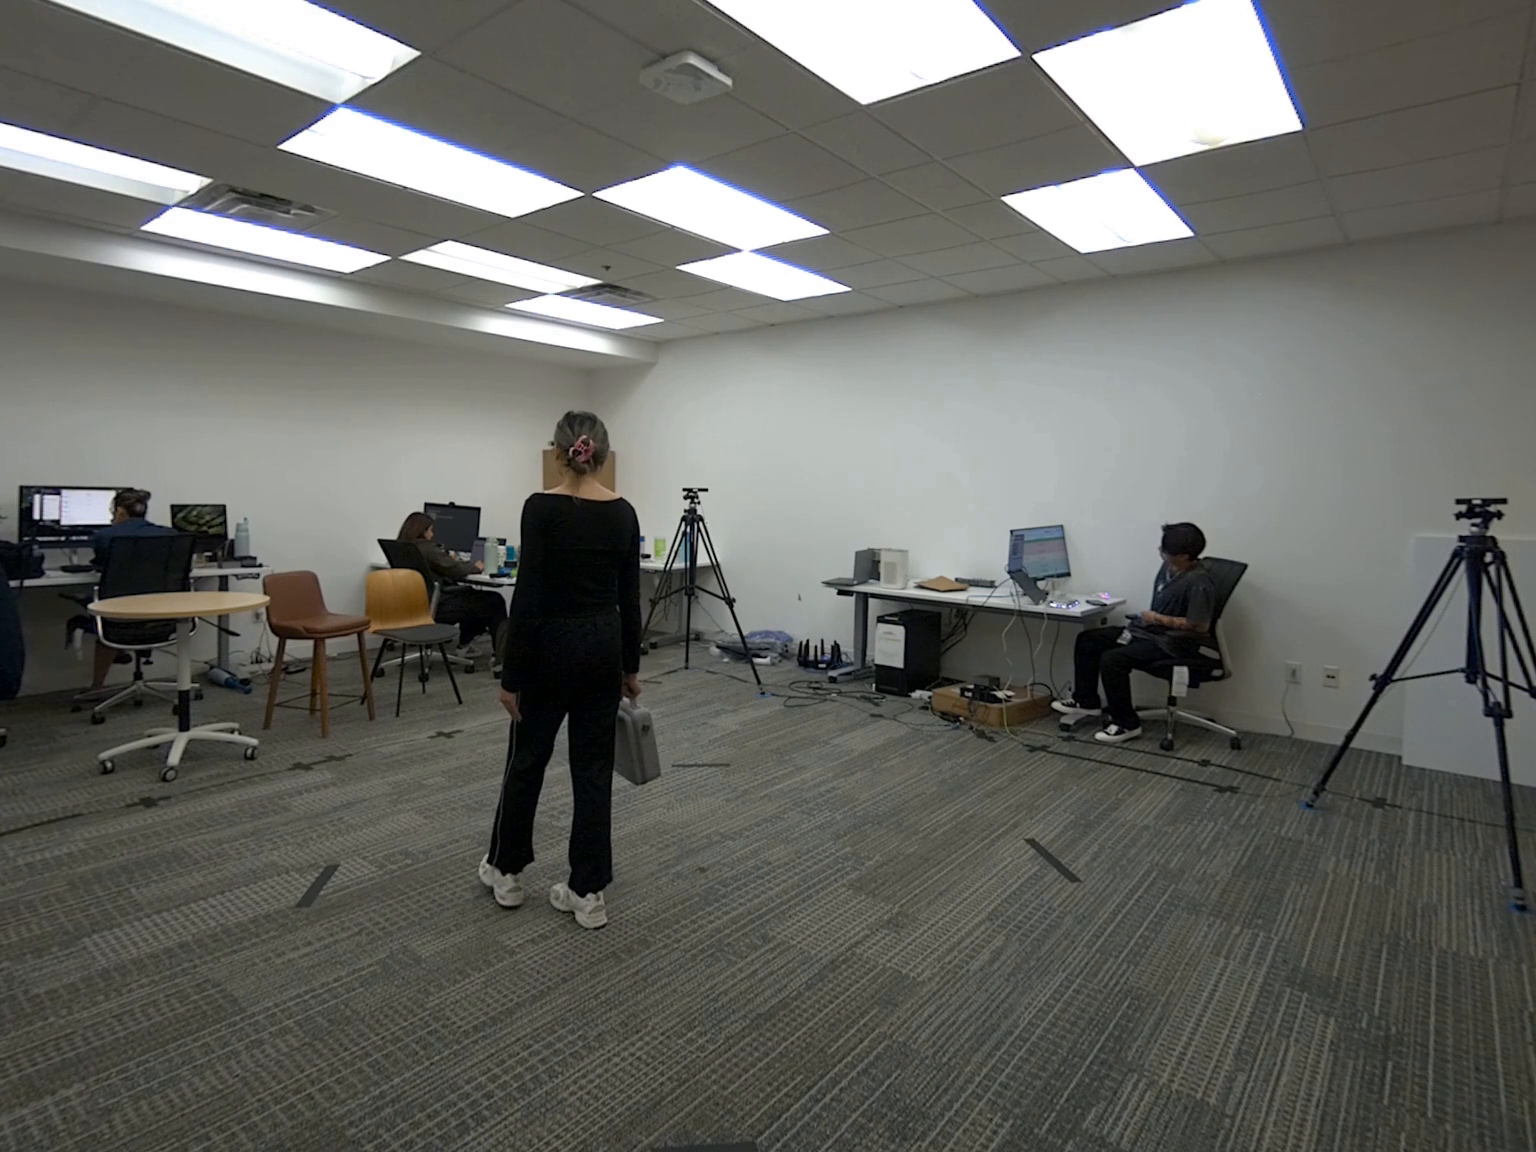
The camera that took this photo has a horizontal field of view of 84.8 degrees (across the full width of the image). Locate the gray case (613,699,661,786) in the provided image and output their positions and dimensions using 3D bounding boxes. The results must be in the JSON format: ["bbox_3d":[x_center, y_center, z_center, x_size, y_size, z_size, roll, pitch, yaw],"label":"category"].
[{"bbox_3d":[-0.501,0.556,2.933,0.102,0.259,0.264,-8,7,-29],"label":"gray case"}]
